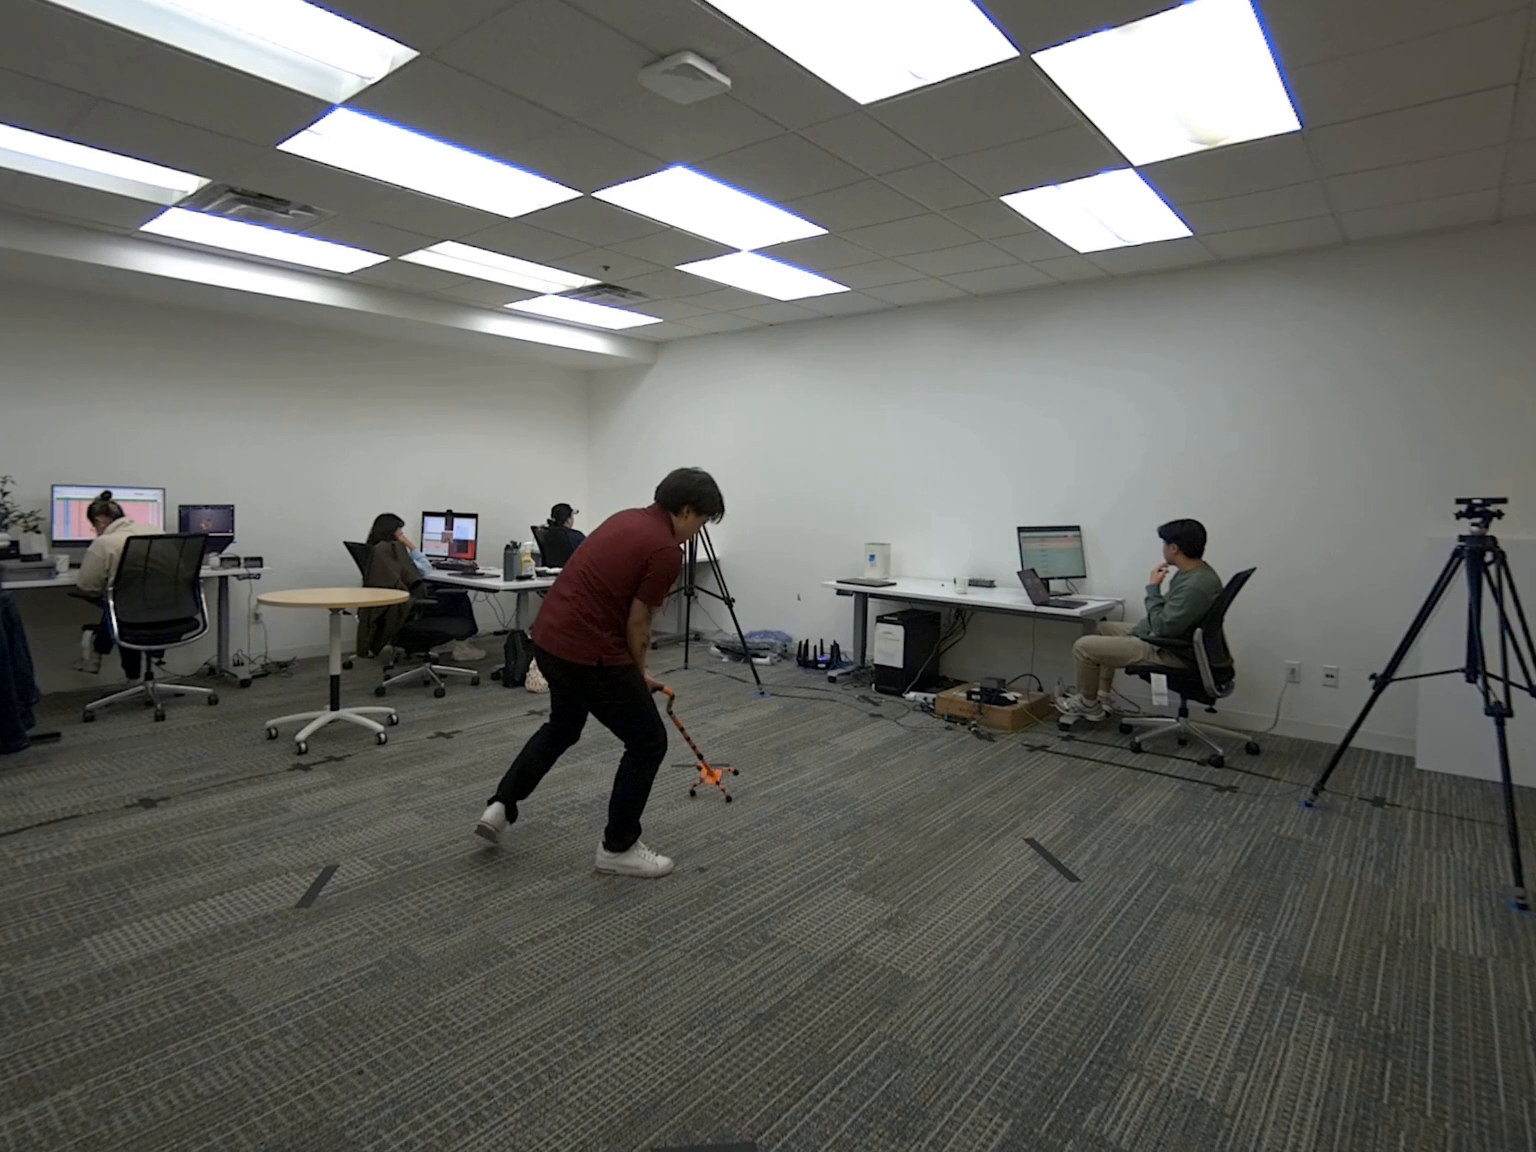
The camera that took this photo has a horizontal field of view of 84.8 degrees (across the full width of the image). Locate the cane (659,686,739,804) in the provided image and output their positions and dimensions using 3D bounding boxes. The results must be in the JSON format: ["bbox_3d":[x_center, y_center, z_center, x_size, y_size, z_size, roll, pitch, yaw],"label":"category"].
[{"bbox_3d":[-0.359,0.684,3.535,0.211,0.154,0.873,3,-35,19],"label":"cane"}]
